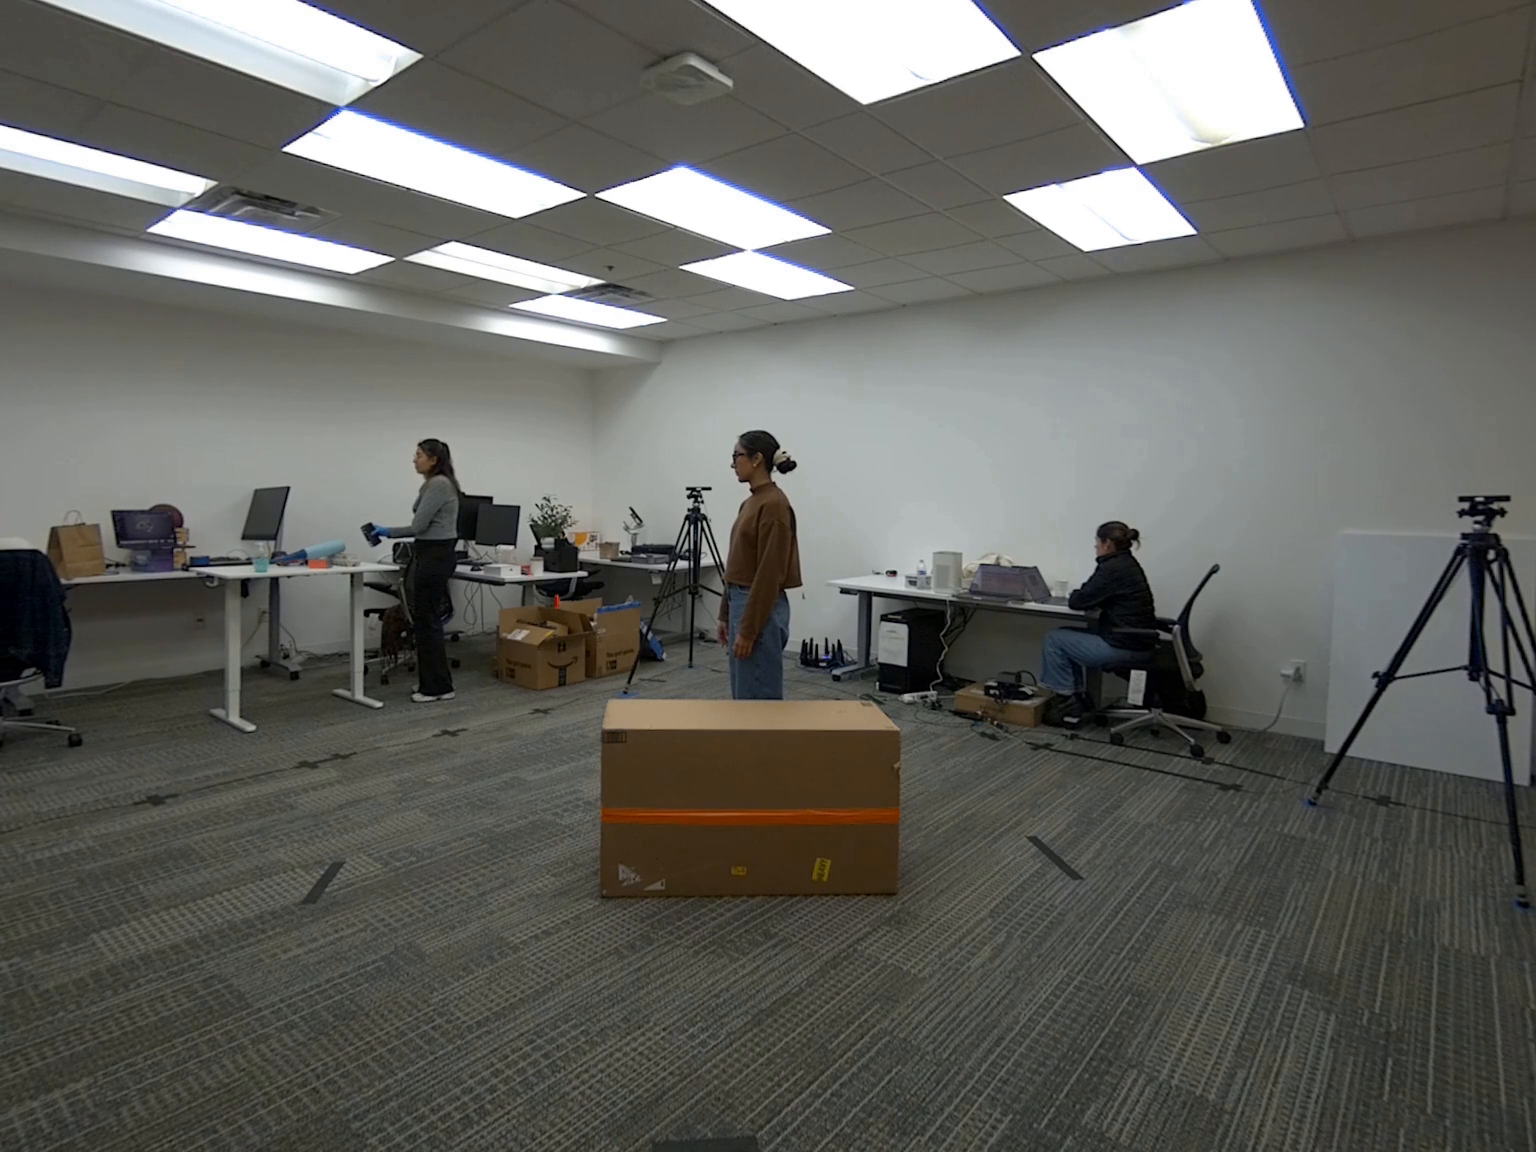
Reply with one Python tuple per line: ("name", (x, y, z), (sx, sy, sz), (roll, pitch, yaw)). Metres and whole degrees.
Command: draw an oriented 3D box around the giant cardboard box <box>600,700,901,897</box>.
("giant cardboard box", (-0.088, 0.783, 3.088), (1.023, 0.583, 0.449), (1, 2, -4))
